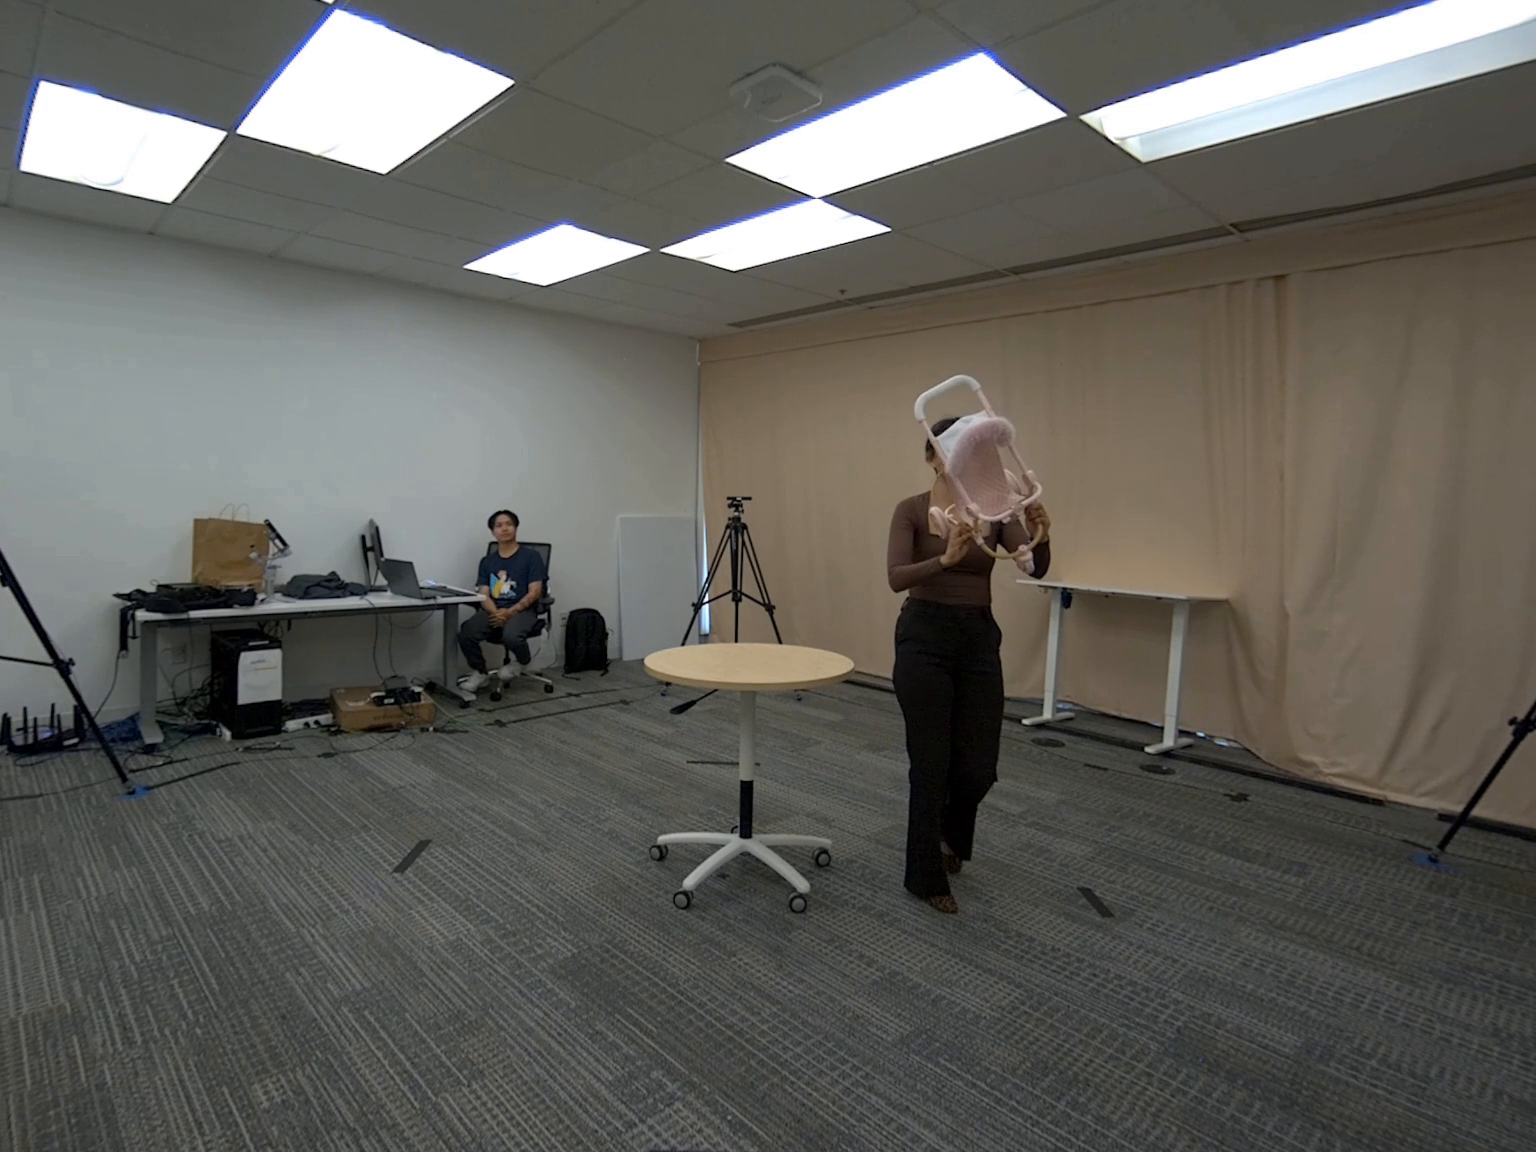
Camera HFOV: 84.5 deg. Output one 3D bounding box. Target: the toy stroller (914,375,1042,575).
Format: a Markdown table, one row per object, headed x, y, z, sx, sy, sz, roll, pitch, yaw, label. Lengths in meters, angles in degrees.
| x | y | z | sx | sy | sz | roll | pitch | yaw | label |
| --- | --- | --- | --- | --- | --- | --- | --- | --- | --- |
| 0.630 | -0.269 | 2.422 | 0.281 | 0.520 | 0.351 | -26 | 38 | -2 | toy stroller |
